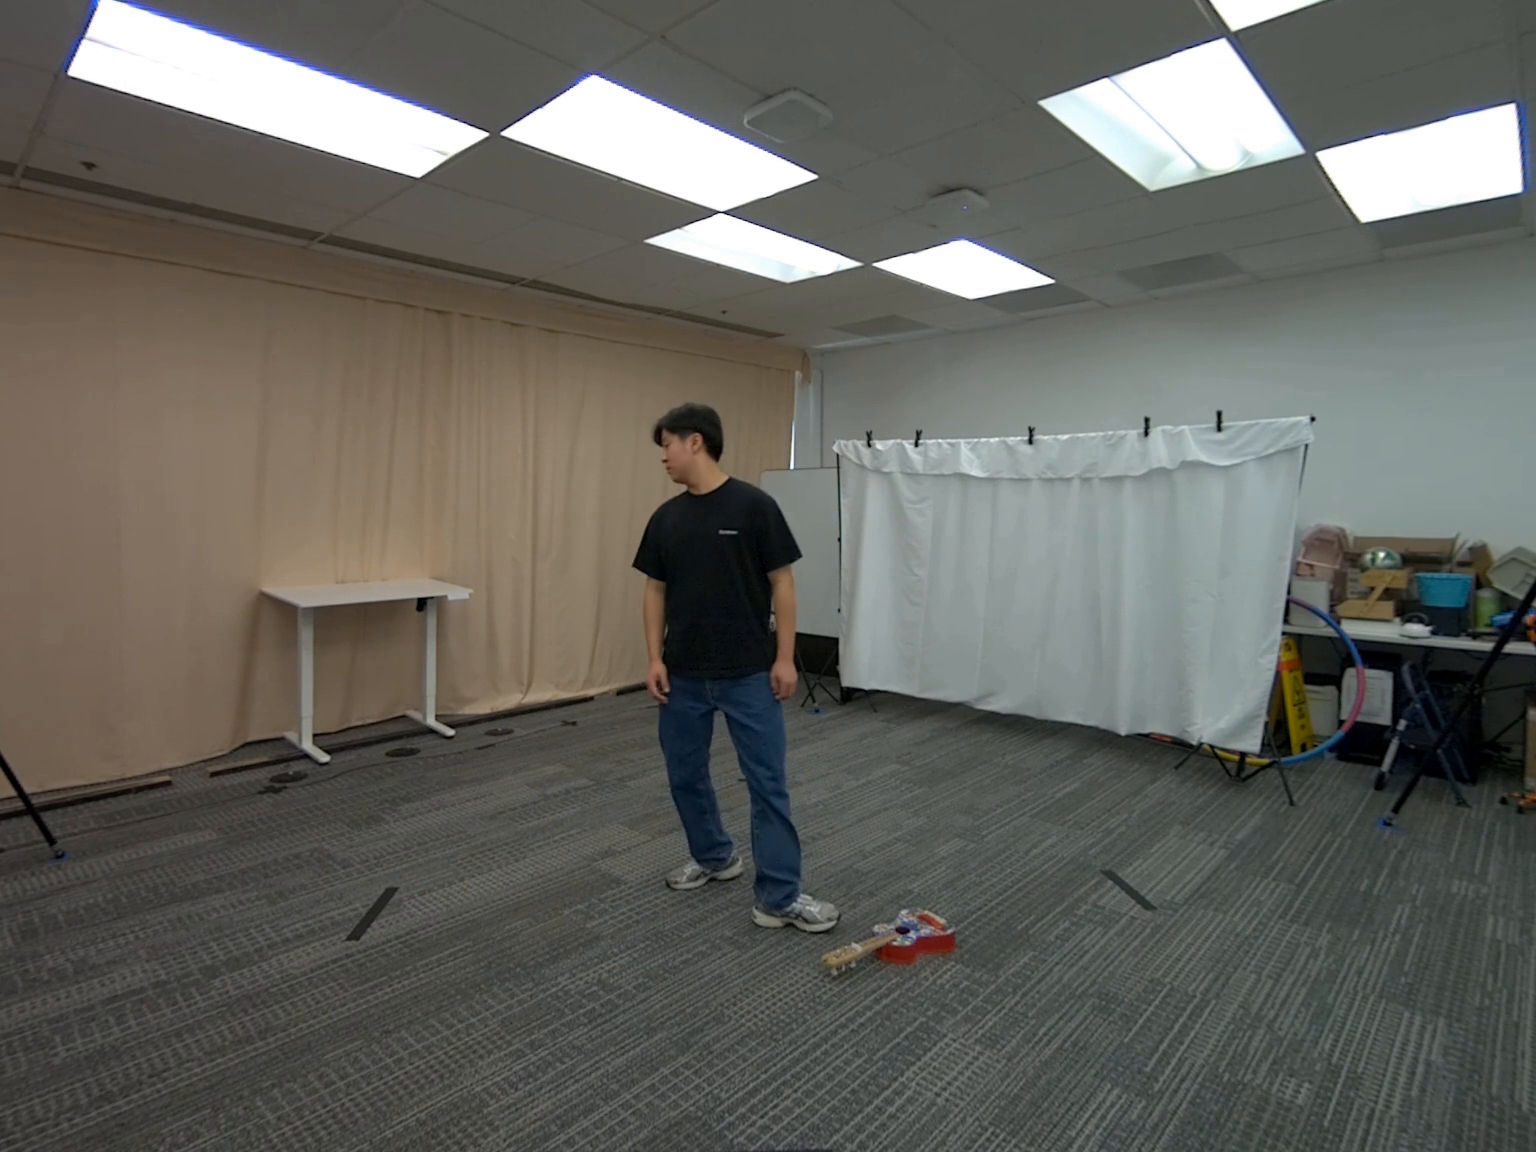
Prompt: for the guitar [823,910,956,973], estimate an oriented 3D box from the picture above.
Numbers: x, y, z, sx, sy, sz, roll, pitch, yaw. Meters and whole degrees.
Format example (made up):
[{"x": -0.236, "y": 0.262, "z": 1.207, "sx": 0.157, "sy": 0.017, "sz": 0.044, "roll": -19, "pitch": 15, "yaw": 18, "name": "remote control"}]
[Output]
[{"x": 0.360, "y": 1.142, "z": 2.621, "sx": 0.485, "sy": 0.070, "sz": 0.198, "roll": -2, "pitch": 6, "yaw": -27, "name": "guitar"}]
